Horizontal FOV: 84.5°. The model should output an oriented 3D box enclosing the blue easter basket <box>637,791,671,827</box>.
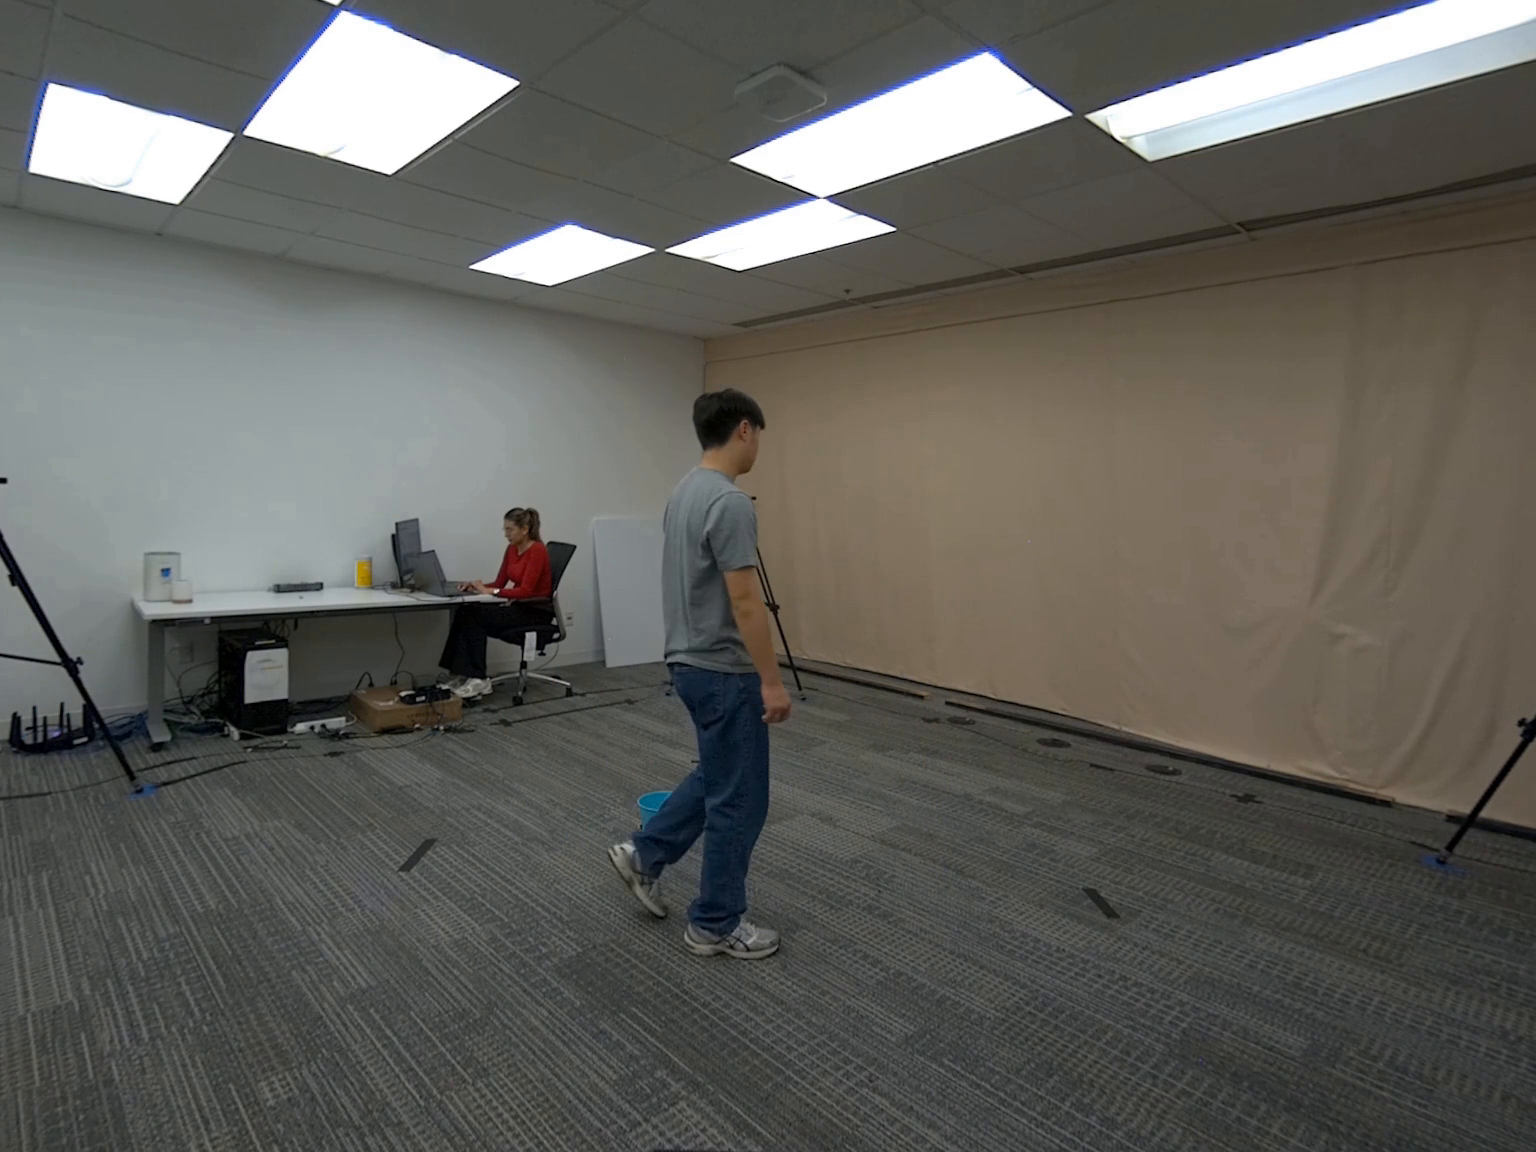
[{"bbox_3d":[-0.427,0.994,3.439,0.243,0.155,0.244,2,5,-1],"label":"blue easter basket"}]
